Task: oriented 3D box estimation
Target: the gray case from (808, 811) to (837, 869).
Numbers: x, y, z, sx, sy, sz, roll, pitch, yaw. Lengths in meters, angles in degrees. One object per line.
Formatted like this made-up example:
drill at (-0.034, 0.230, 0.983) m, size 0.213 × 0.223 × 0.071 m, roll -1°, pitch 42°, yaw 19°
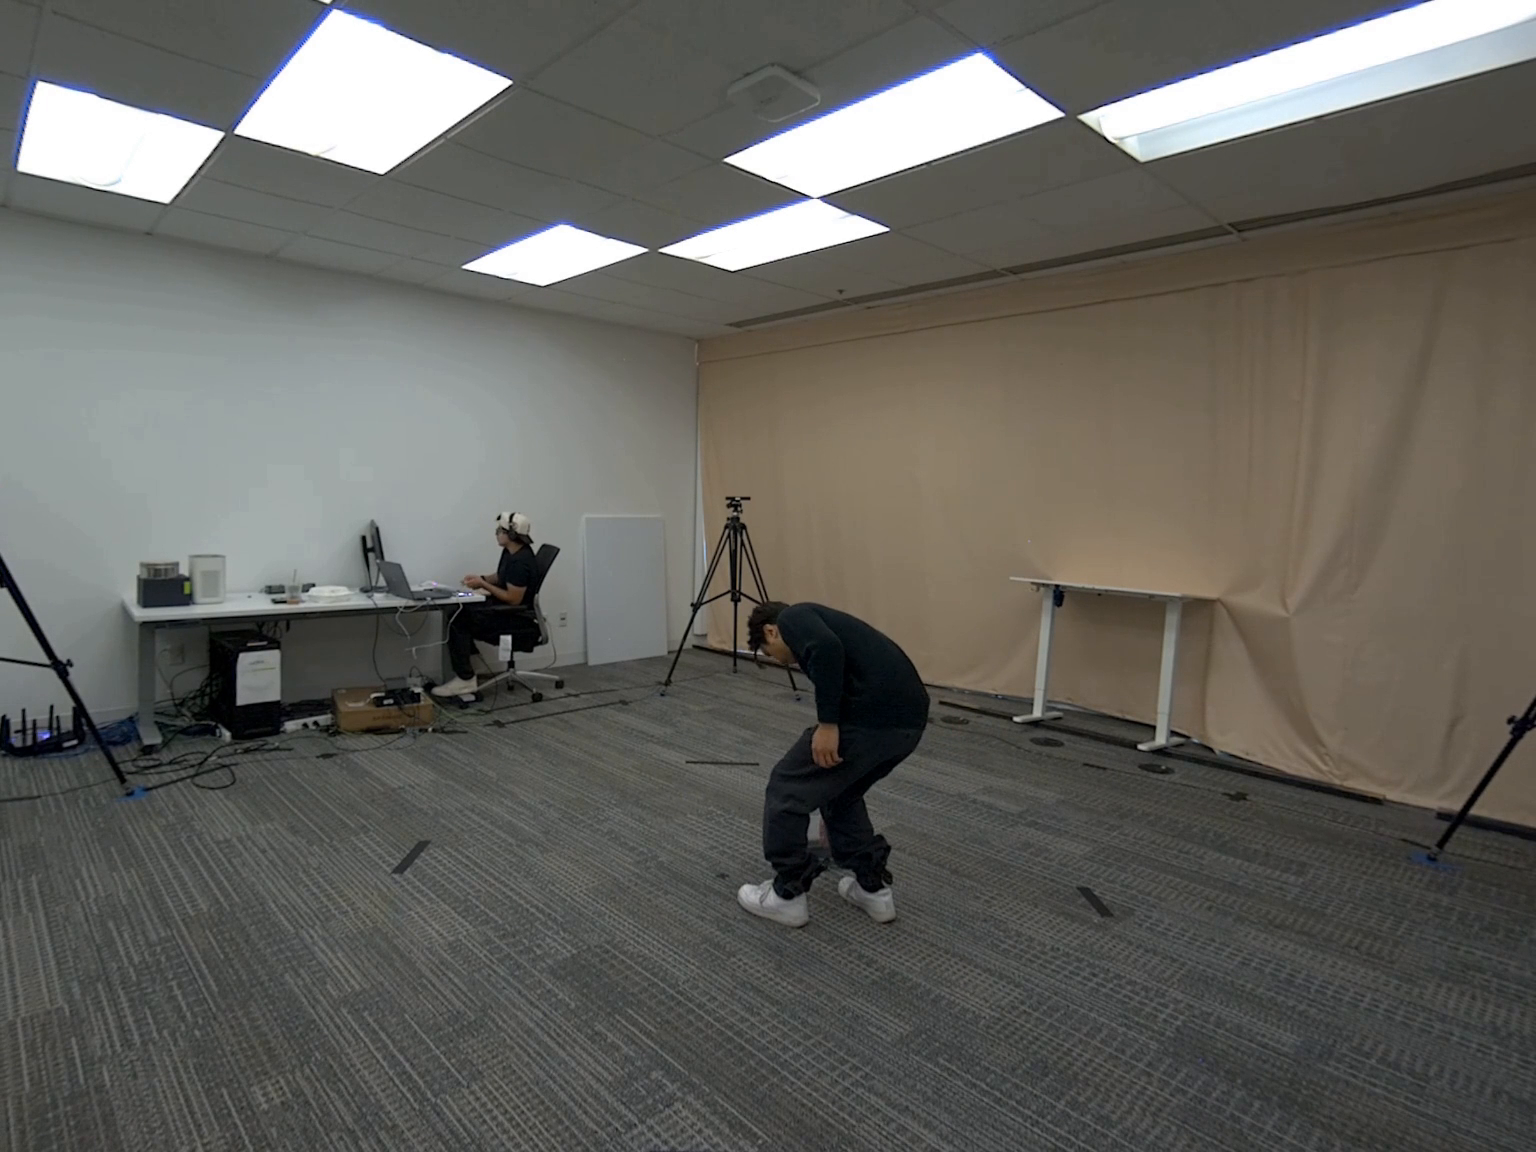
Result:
gray case at (0.177, 1.040, 3.332) m, size 0.254 × 0.104 × 0.264 m, roll 1°, pitch 5°, yaw -15°
